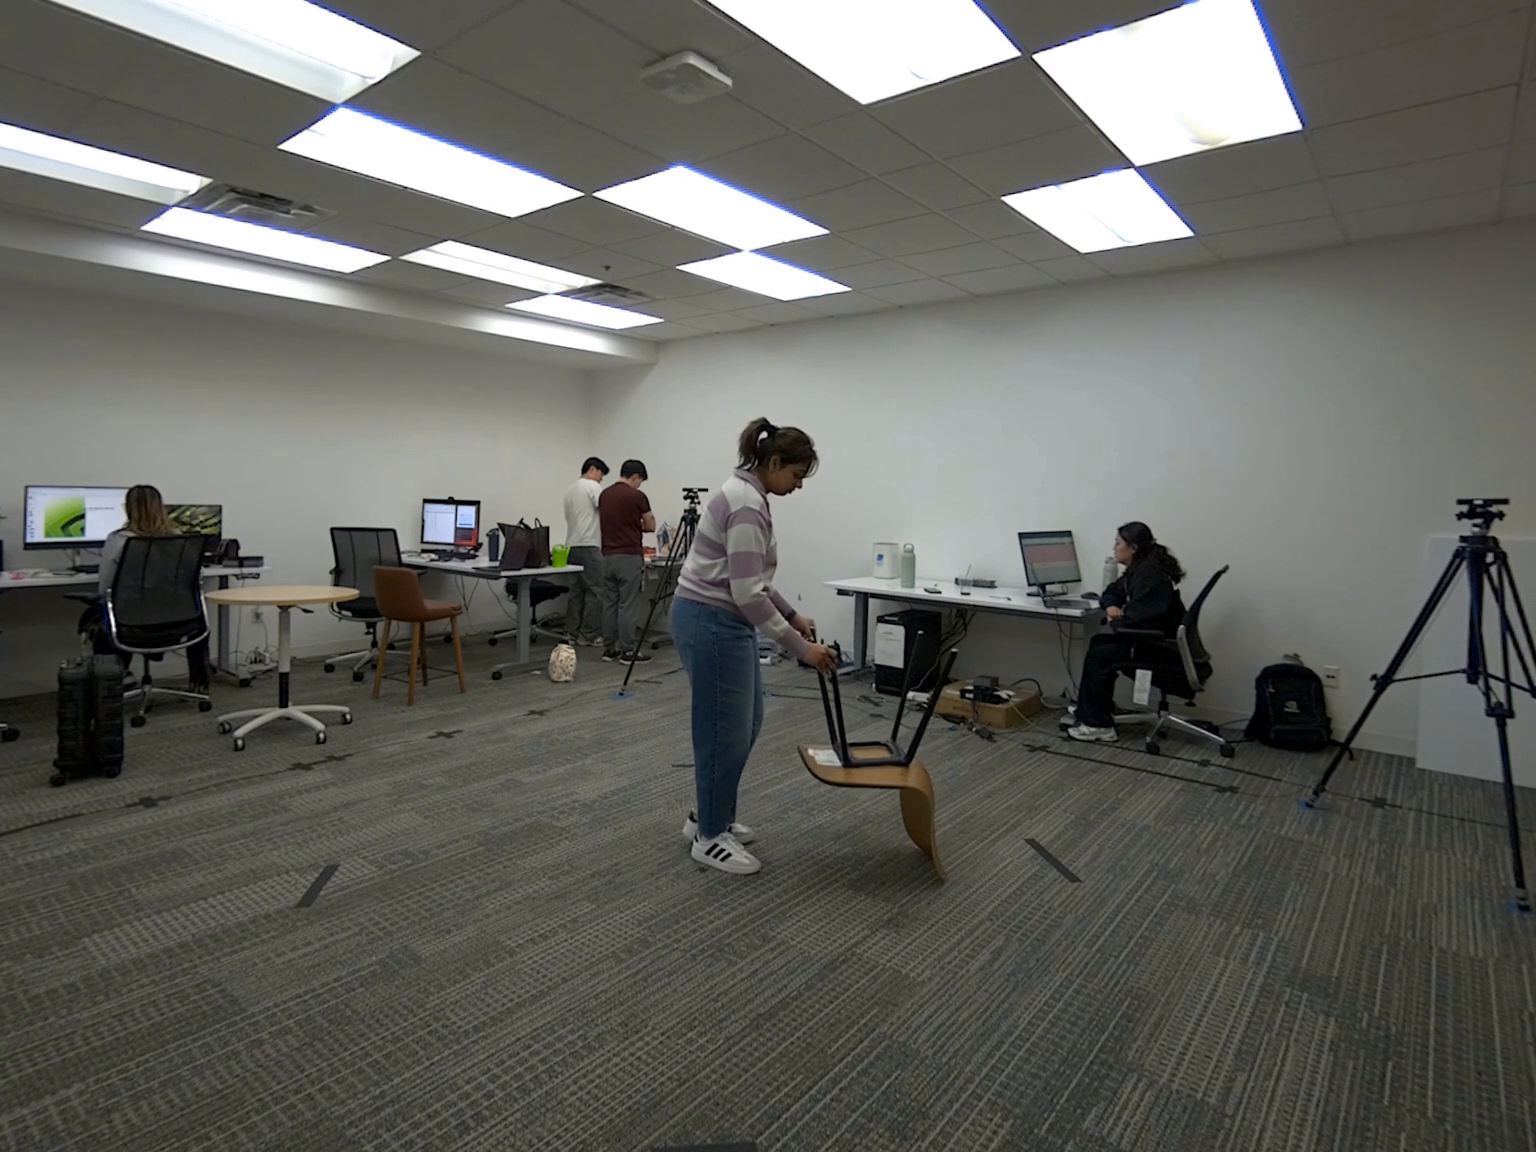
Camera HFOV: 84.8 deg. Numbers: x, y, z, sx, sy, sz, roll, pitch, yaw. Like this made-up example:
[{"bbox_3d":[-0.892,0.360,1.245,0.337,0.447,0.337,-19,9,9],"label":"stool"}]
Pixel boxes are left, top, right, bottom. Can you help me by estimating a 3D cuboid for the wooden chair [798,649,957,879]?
[{"bbox_3d":[0.374,0.661,3.163,0.522,0.875,0.481,-1,3,-3],"label":"wooden chair"}]
